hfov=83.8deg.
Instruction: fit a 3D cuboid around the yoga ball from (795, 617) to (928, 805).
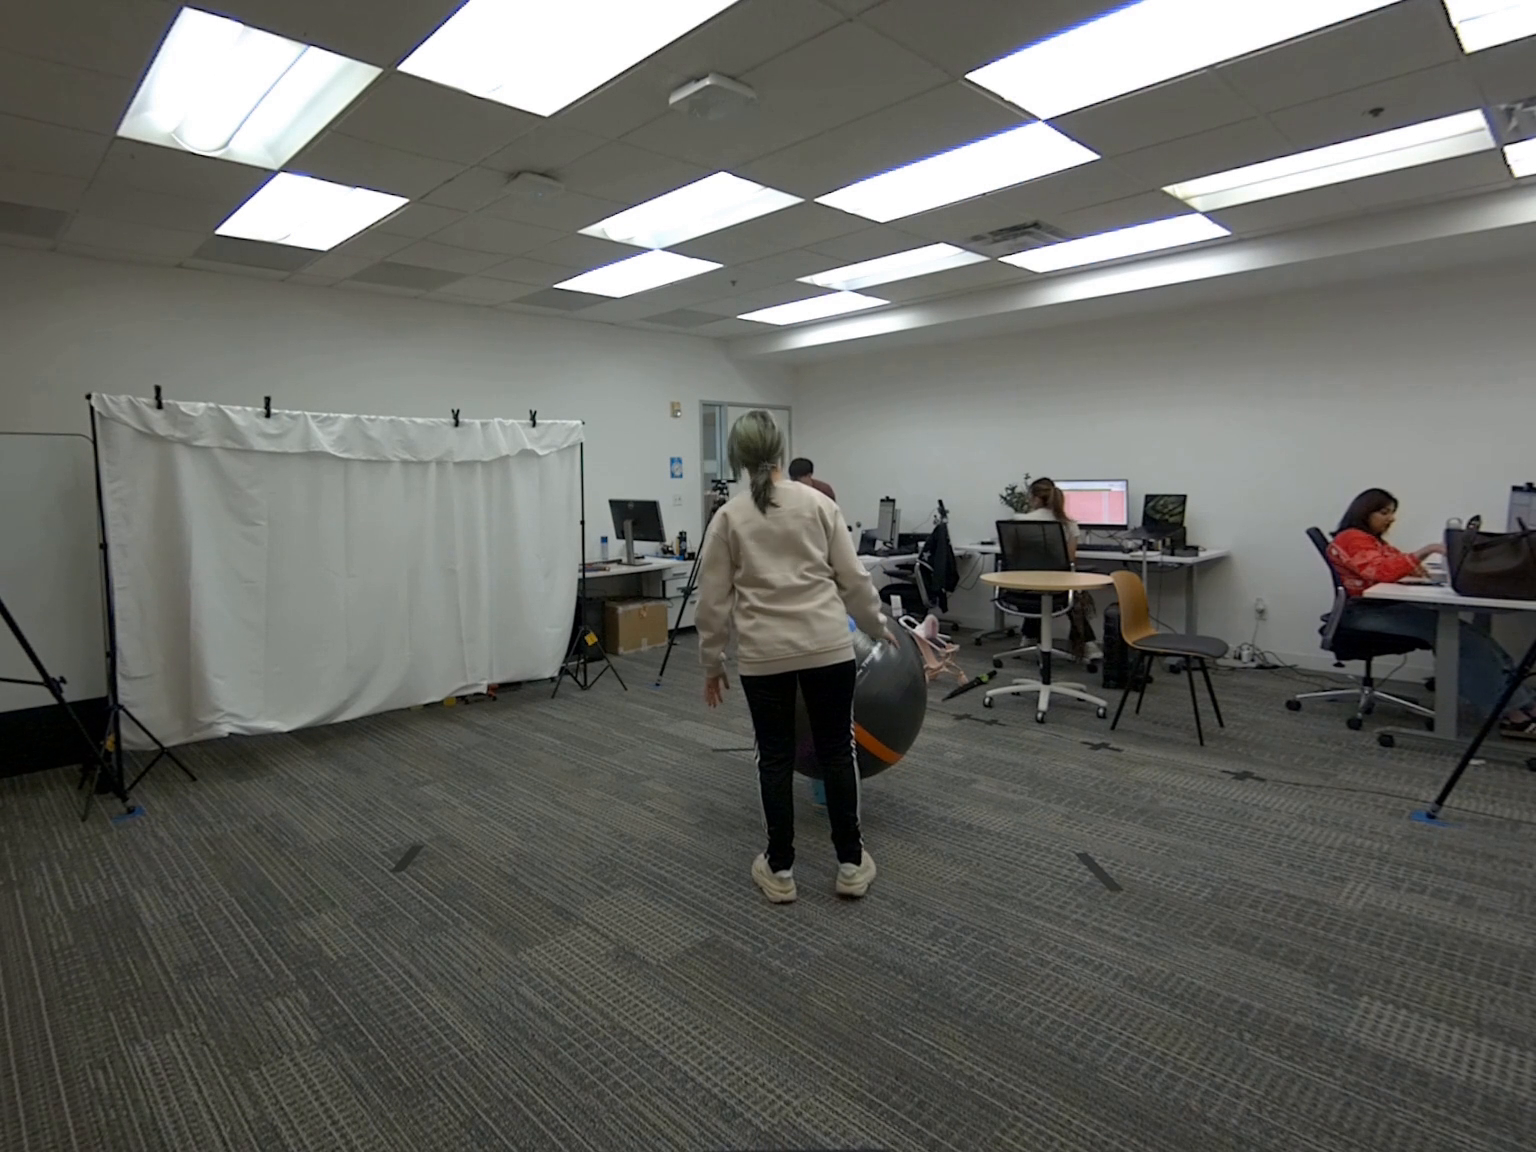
[{"bbox_3d":[0.281,0.477,3.598,0.757,0.755,0.762,-1,5,-2],"label":"yoga ball"}]
